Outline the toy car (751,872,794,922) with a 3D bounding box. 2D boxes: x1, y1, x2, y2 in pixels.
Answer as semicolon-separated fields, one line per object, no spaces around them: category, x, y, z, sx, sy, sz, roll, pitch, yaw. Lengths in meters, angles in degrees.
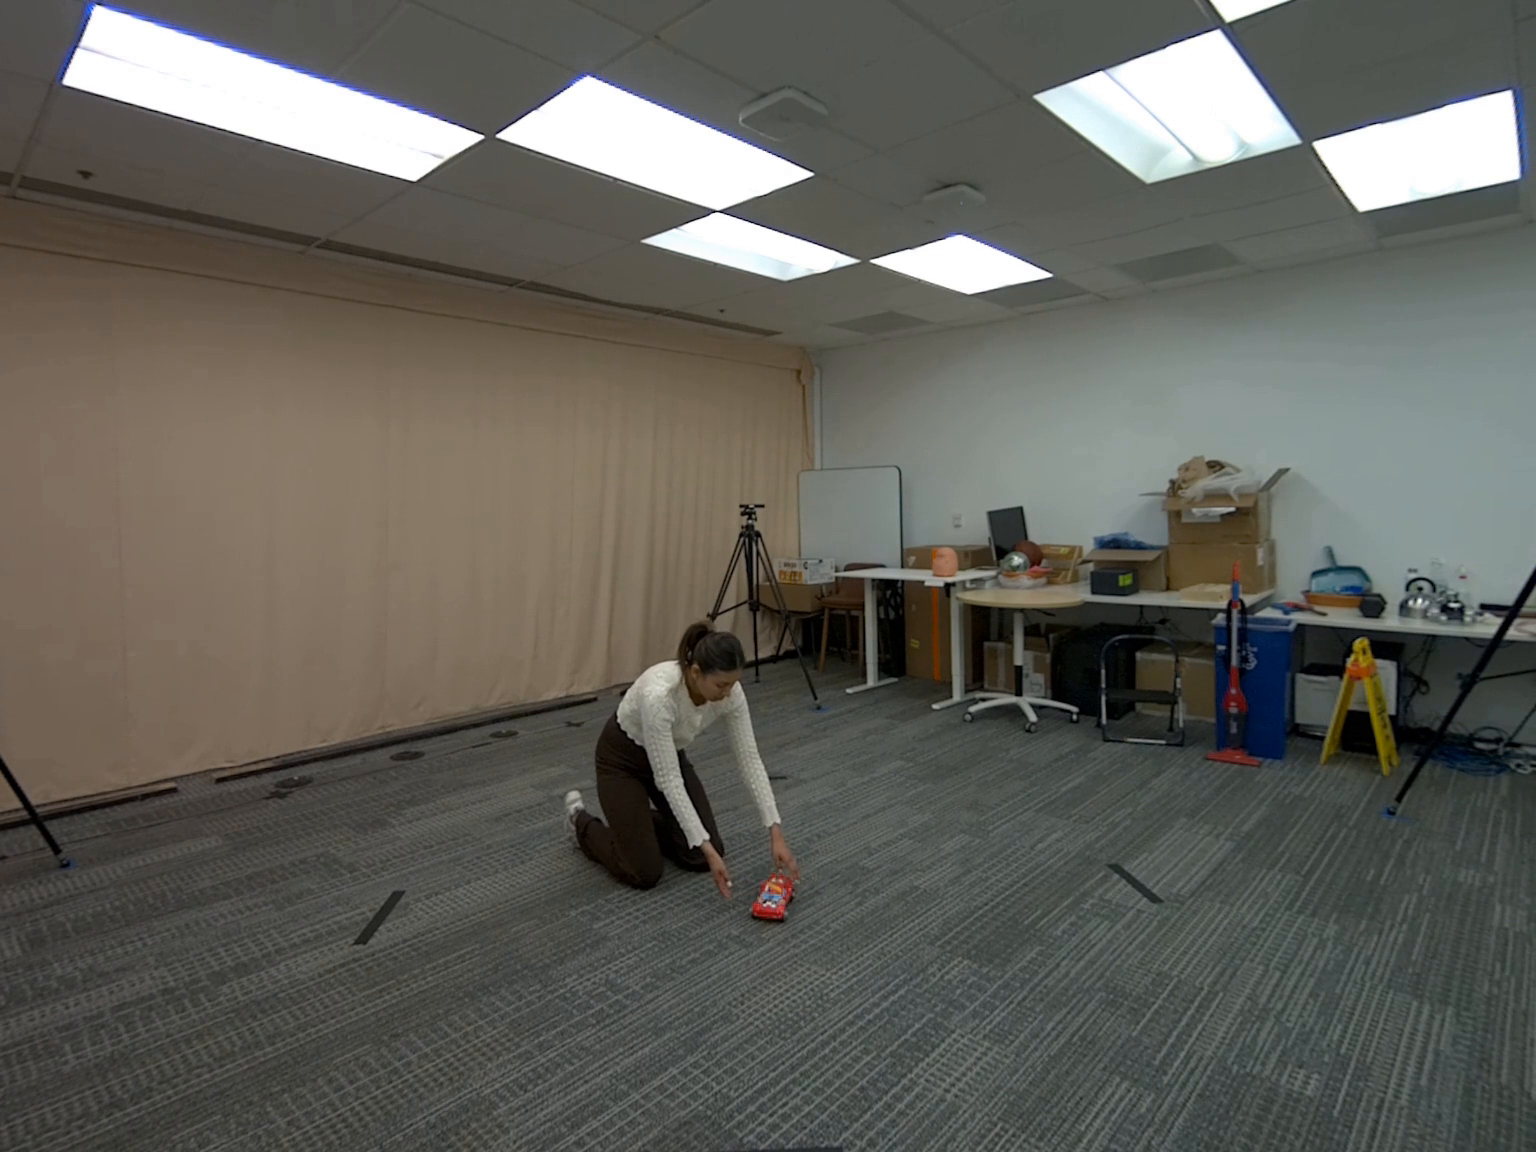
toy car;0.024;1.114;2.913;0.132;0.082;0.254;-1;16;11
